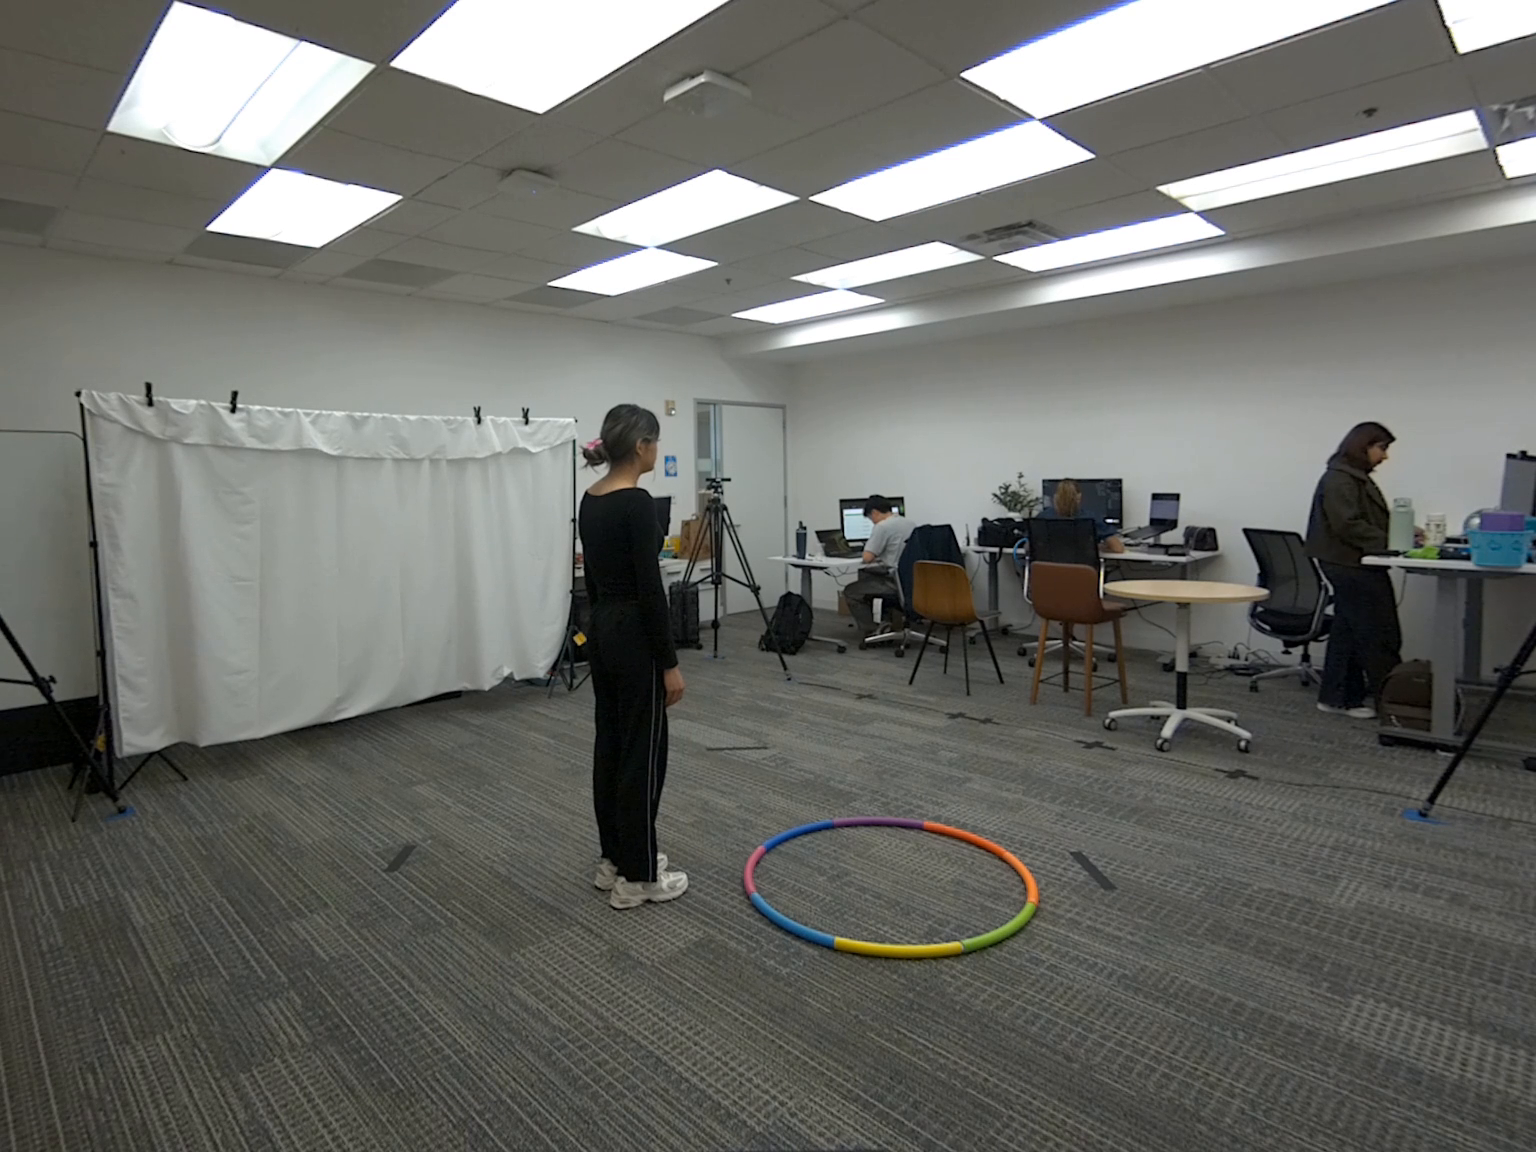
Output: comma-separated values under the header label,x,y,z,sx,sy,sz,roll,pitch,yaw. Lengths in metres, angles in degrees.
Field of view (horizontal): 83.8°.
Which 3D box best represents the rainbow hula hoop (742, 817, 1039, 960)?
label,x,y,z,sx,sy,sz,roll,pitch,yaw
rainbow hula hoop,0.404,1.022,2.951,0.978,0.035,0.984,-2,6,-1
